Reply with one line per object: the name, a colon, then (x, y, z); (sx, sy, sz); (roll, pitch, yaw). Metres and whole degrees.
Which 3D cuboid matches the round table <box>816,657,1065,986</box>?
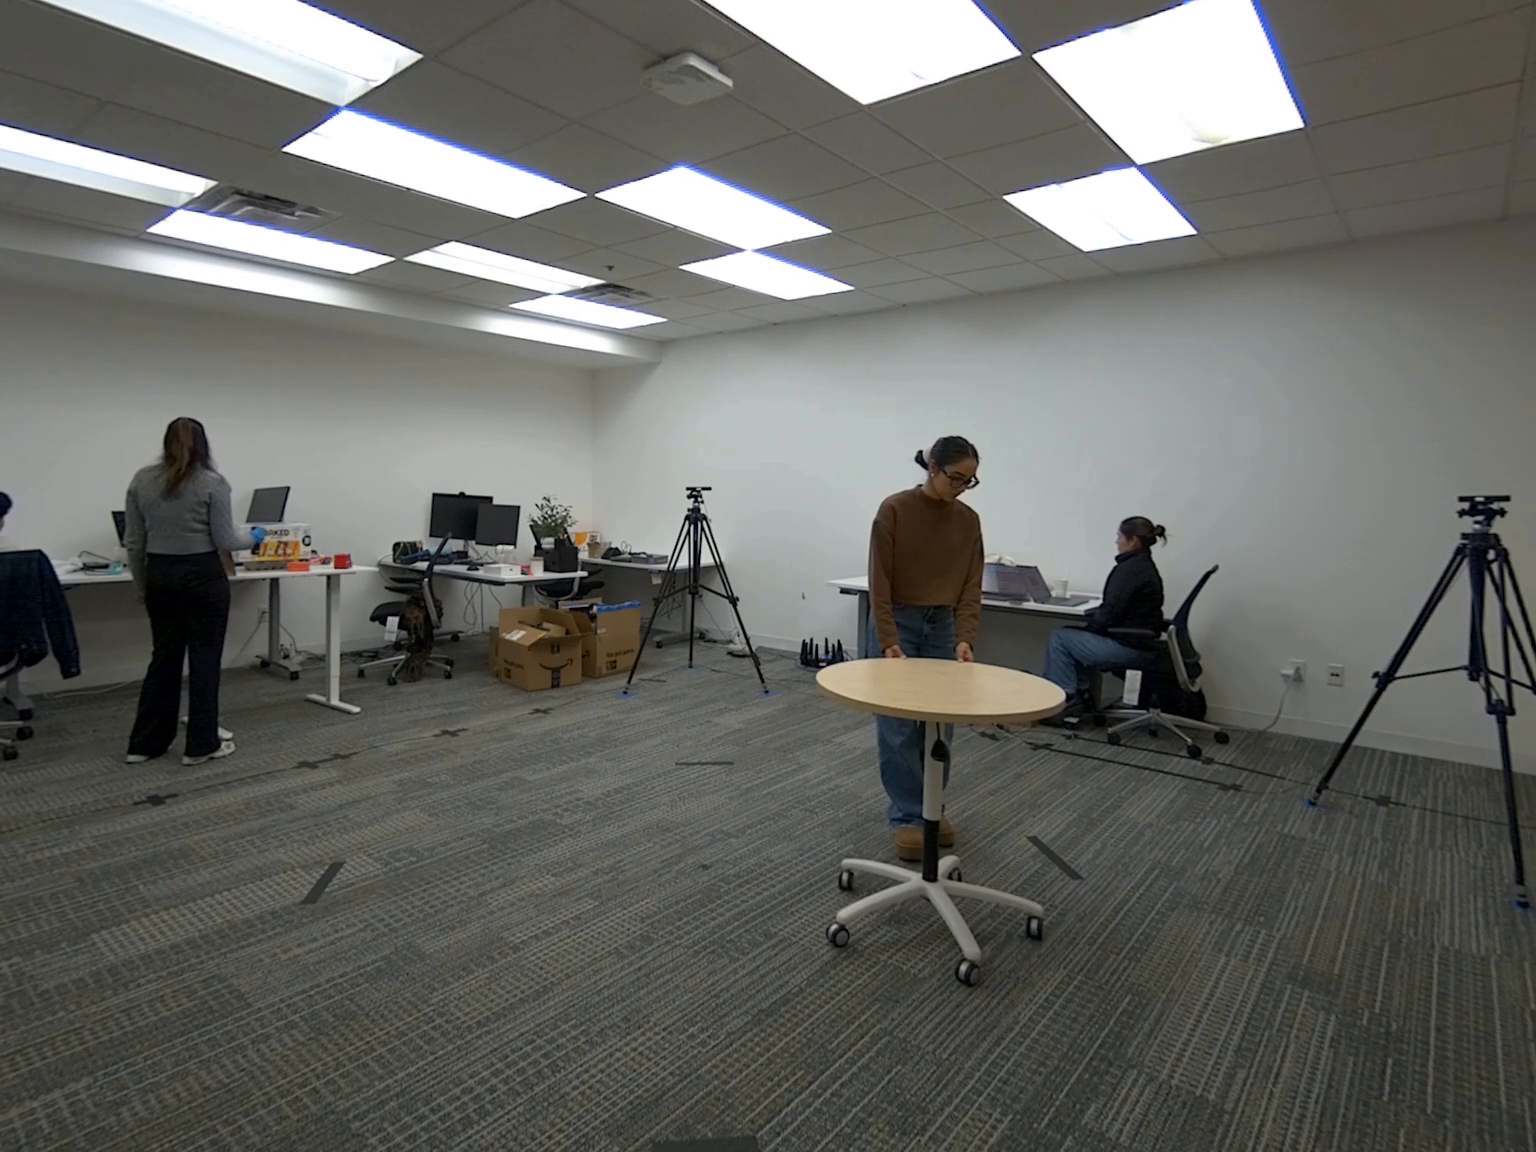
round table: (0.516, 0.728, 2.738); (0.763, 0.791, 0.768); (1, 5, -2)
